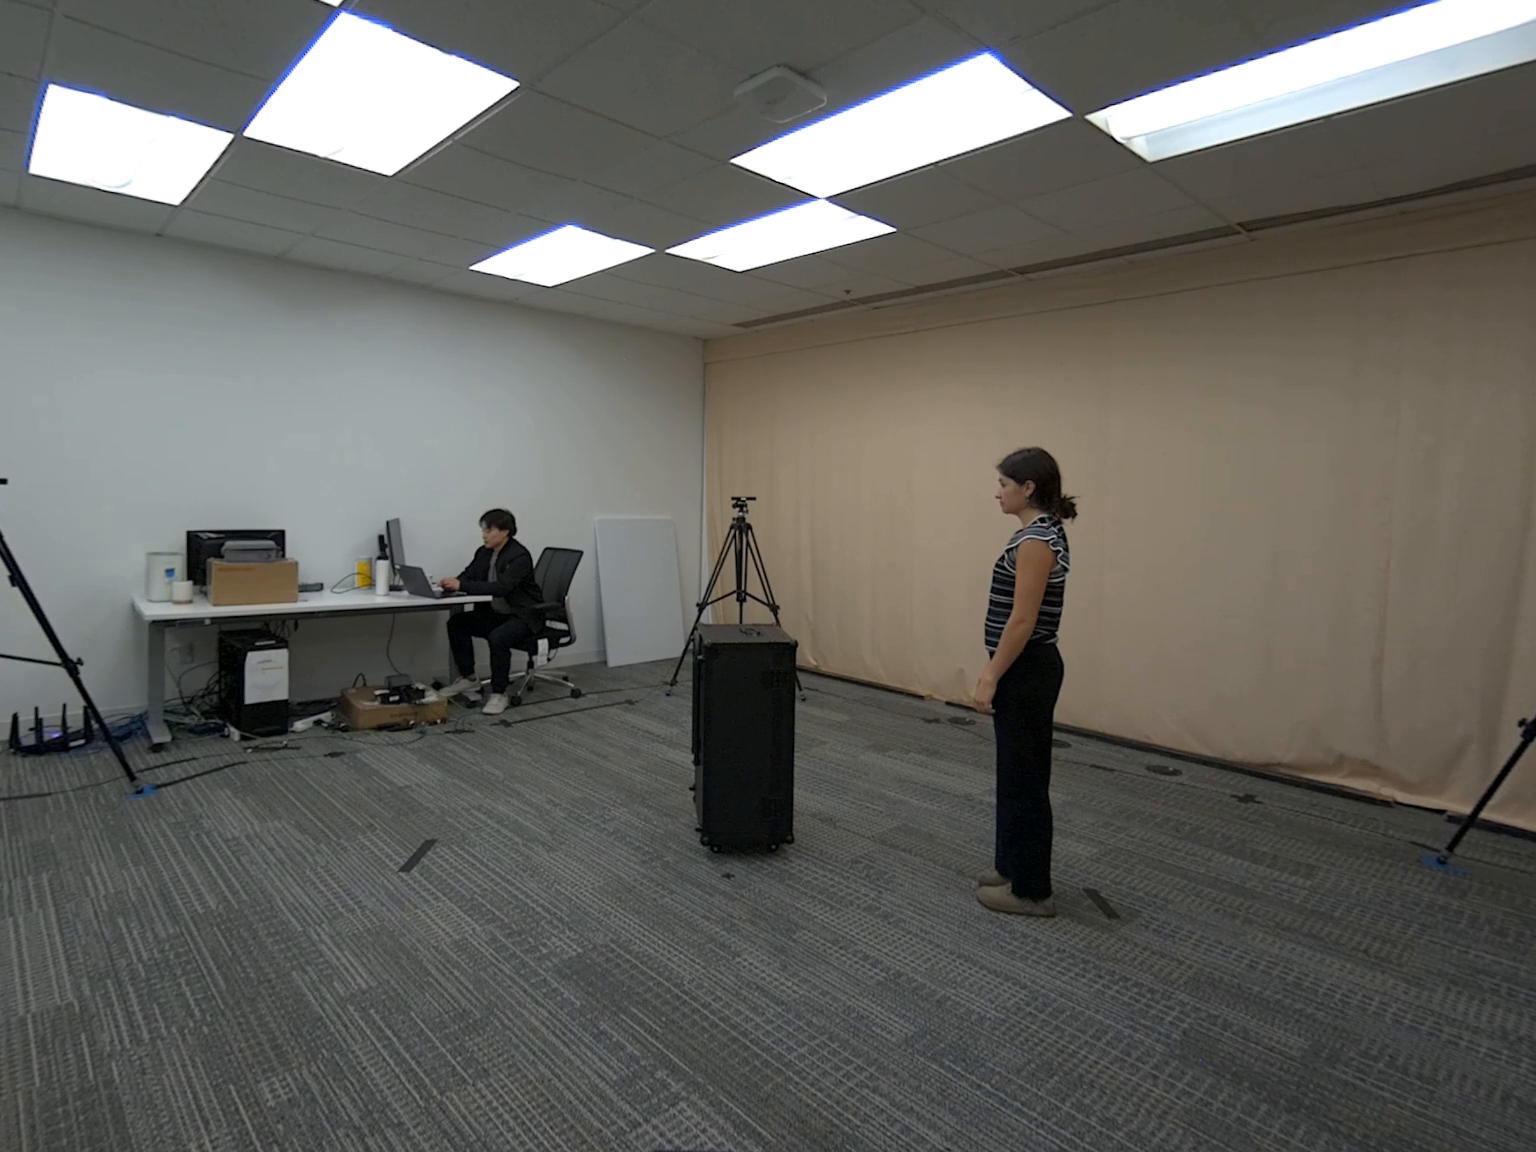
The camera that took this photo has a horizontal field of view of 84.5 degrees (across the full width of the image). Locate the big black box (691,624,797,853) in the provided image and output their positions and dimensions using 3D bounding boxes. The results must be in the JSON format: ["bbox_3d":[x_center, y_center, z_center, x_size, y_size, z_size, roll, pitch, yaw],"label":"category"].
[{"bbox_3d":[-0.121,0.651,3.437,0.394,0.859,0.525,0,3,-7],"label":"big black box"}]
